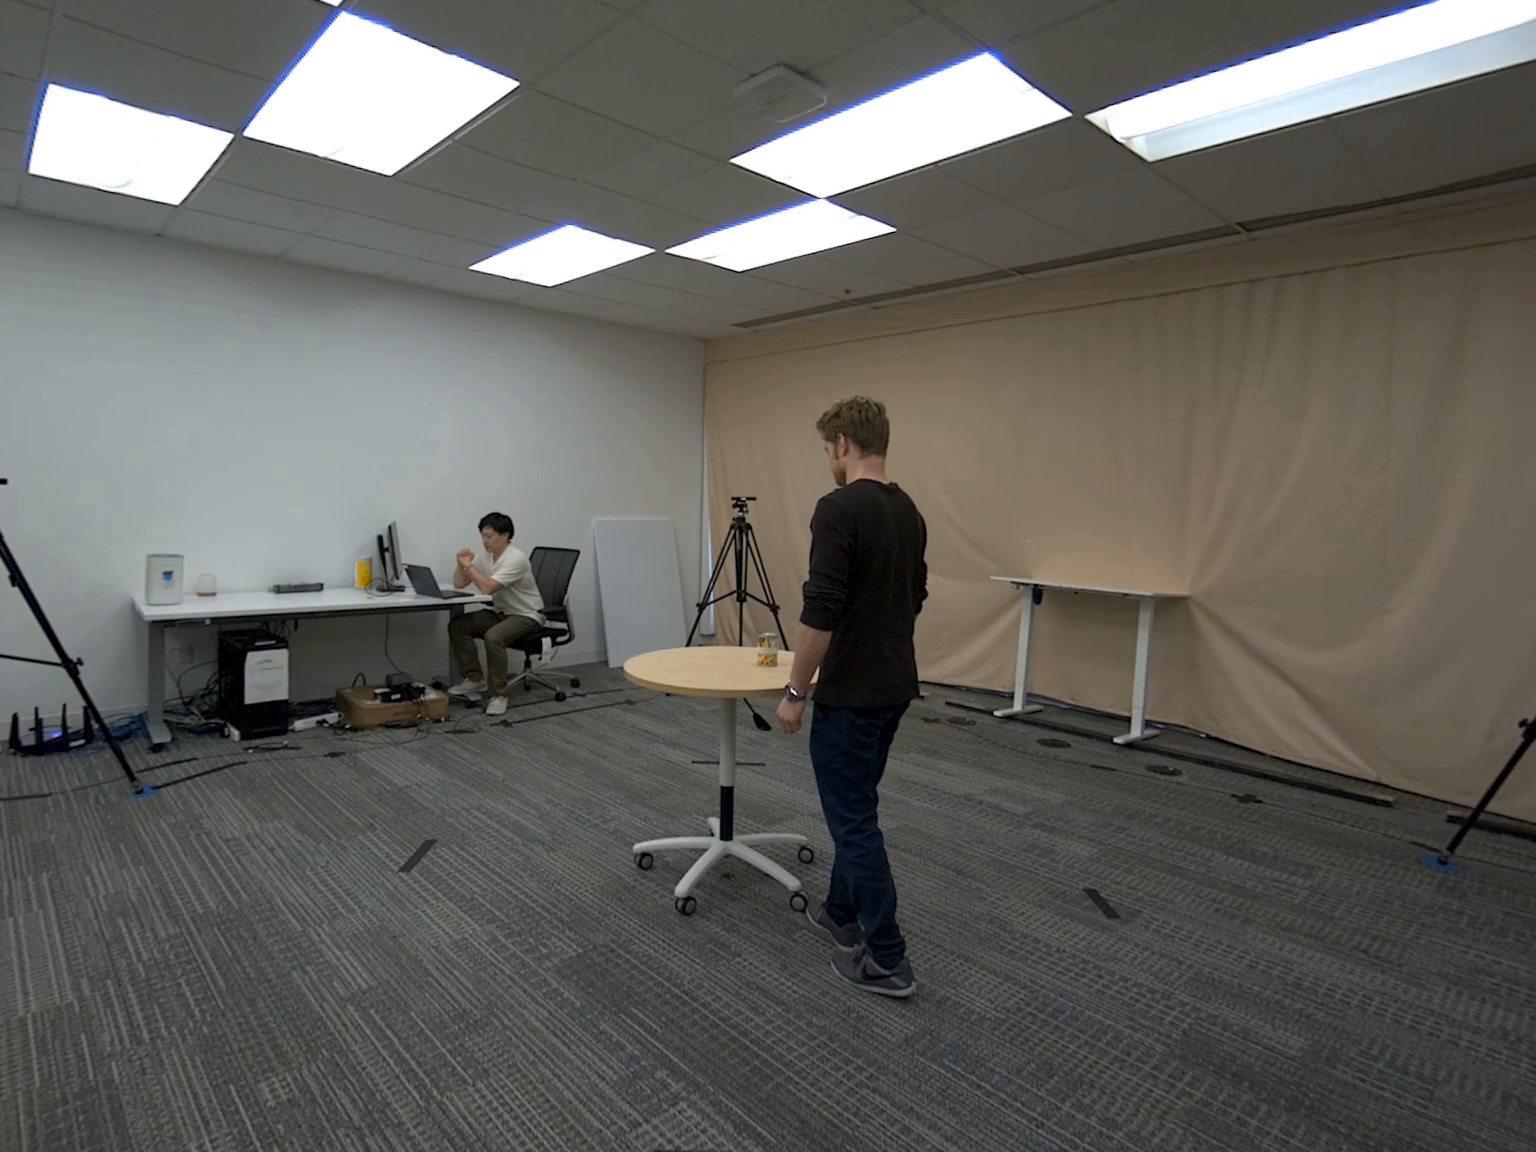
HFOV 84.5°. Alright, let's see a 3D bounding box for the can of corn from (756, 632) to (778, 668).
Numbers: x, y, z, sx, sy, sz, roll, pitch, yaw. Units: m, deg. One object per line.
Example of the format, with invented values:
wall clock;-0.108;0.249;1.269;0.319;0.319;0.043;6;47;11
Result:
can of corn;-0.009;0.274;3.080;0.074;0.111;0.074;1;3;-1
